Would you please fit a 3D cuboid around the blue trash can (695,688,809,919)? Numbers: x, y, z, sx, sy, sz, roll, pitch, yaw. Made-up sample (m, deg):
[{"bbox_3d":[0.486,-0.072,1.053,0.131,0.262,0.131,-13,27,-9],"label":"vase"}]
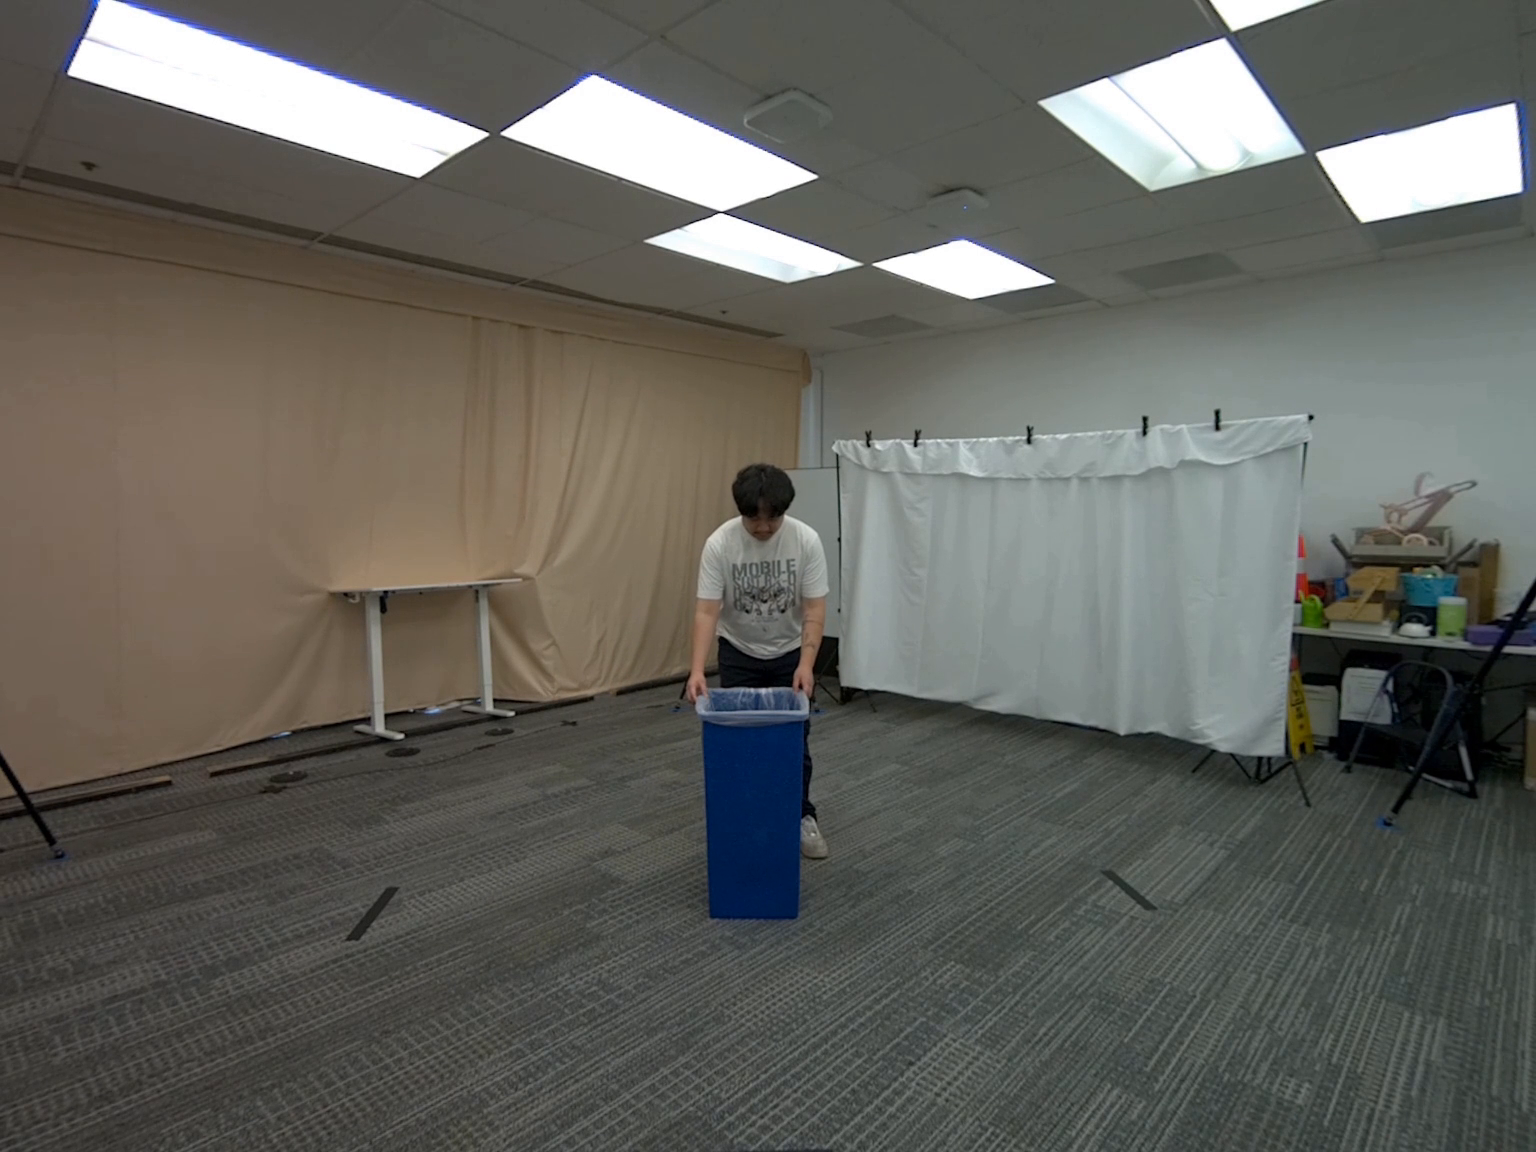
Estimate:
[{"bbox_3d":[-0.051,0.786,2.968,0.378,0.712,0.375,0,3,-1],"label":"blue trash can"}]
